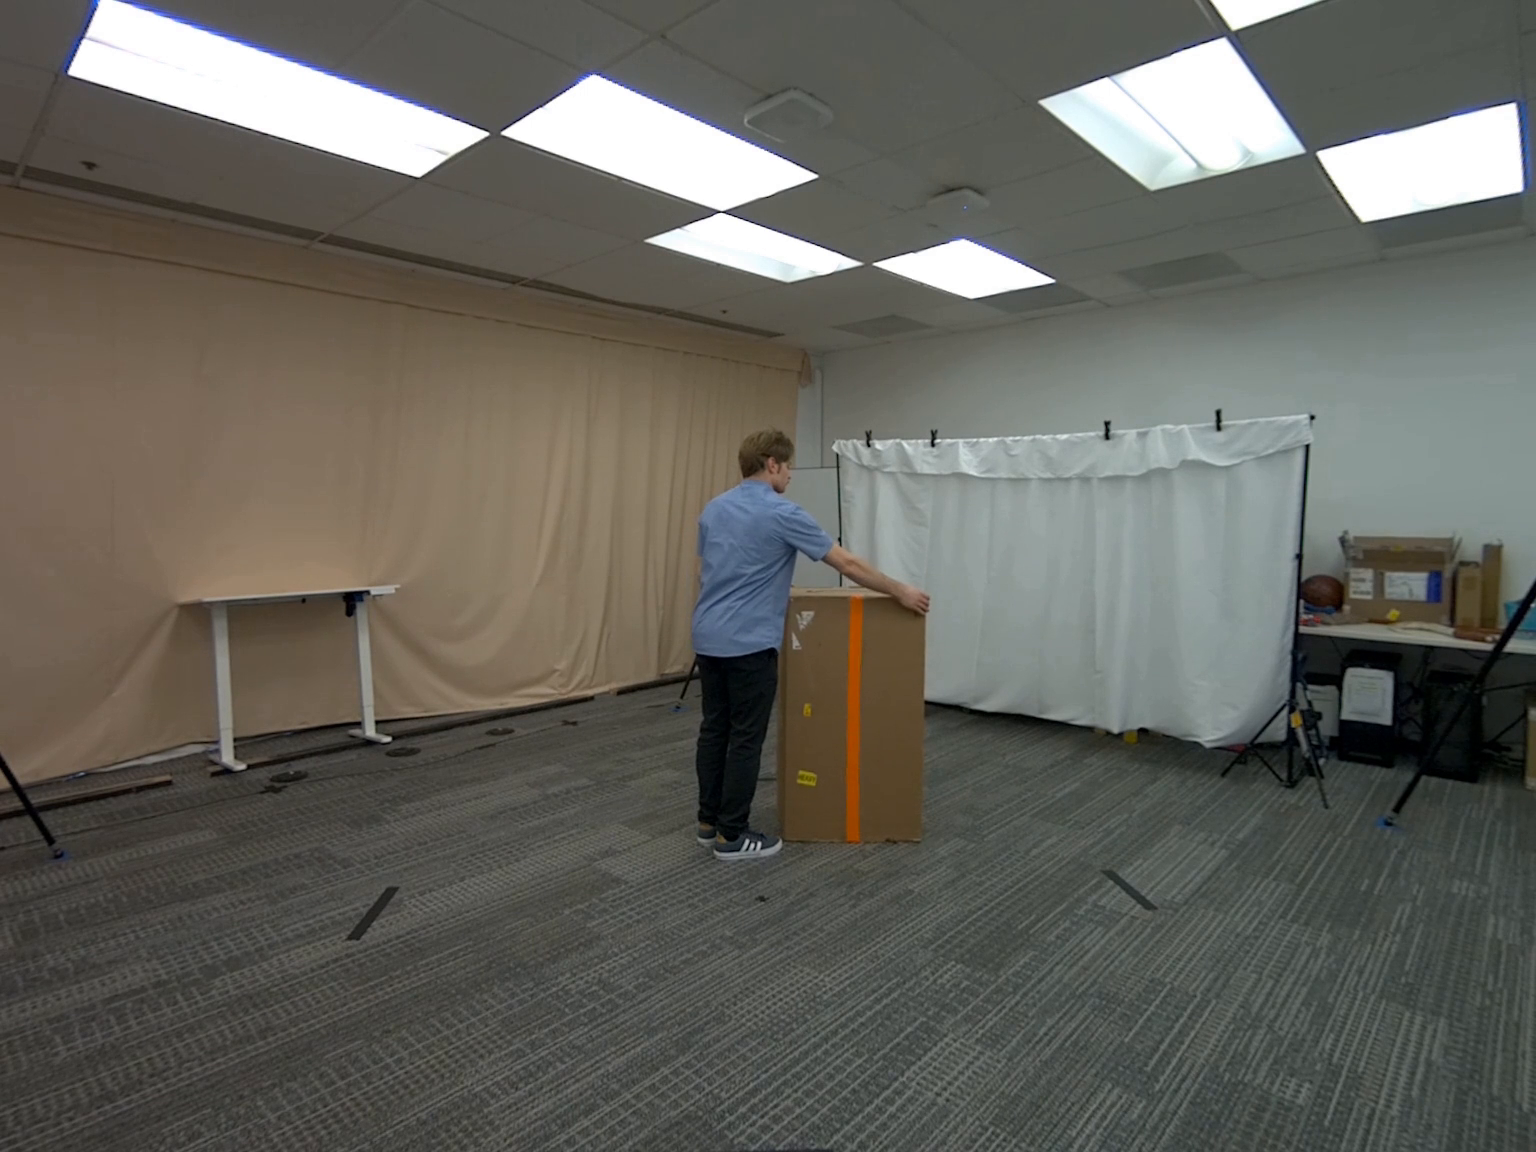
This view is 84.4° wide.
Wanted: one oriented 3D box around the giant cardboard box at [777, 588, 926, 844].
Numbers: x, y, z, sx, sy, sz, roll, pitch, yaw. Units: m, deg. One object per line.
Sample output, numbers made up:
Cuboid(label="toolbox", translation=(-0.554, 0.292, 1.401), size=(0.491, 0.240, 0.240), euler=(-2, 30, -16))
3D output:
Cuboid(label="giant cardboard box", translation=(0.347, 0.578, 3.676), size=(0.578, 1.024, 0.427), euler=(1, 3, 0))
